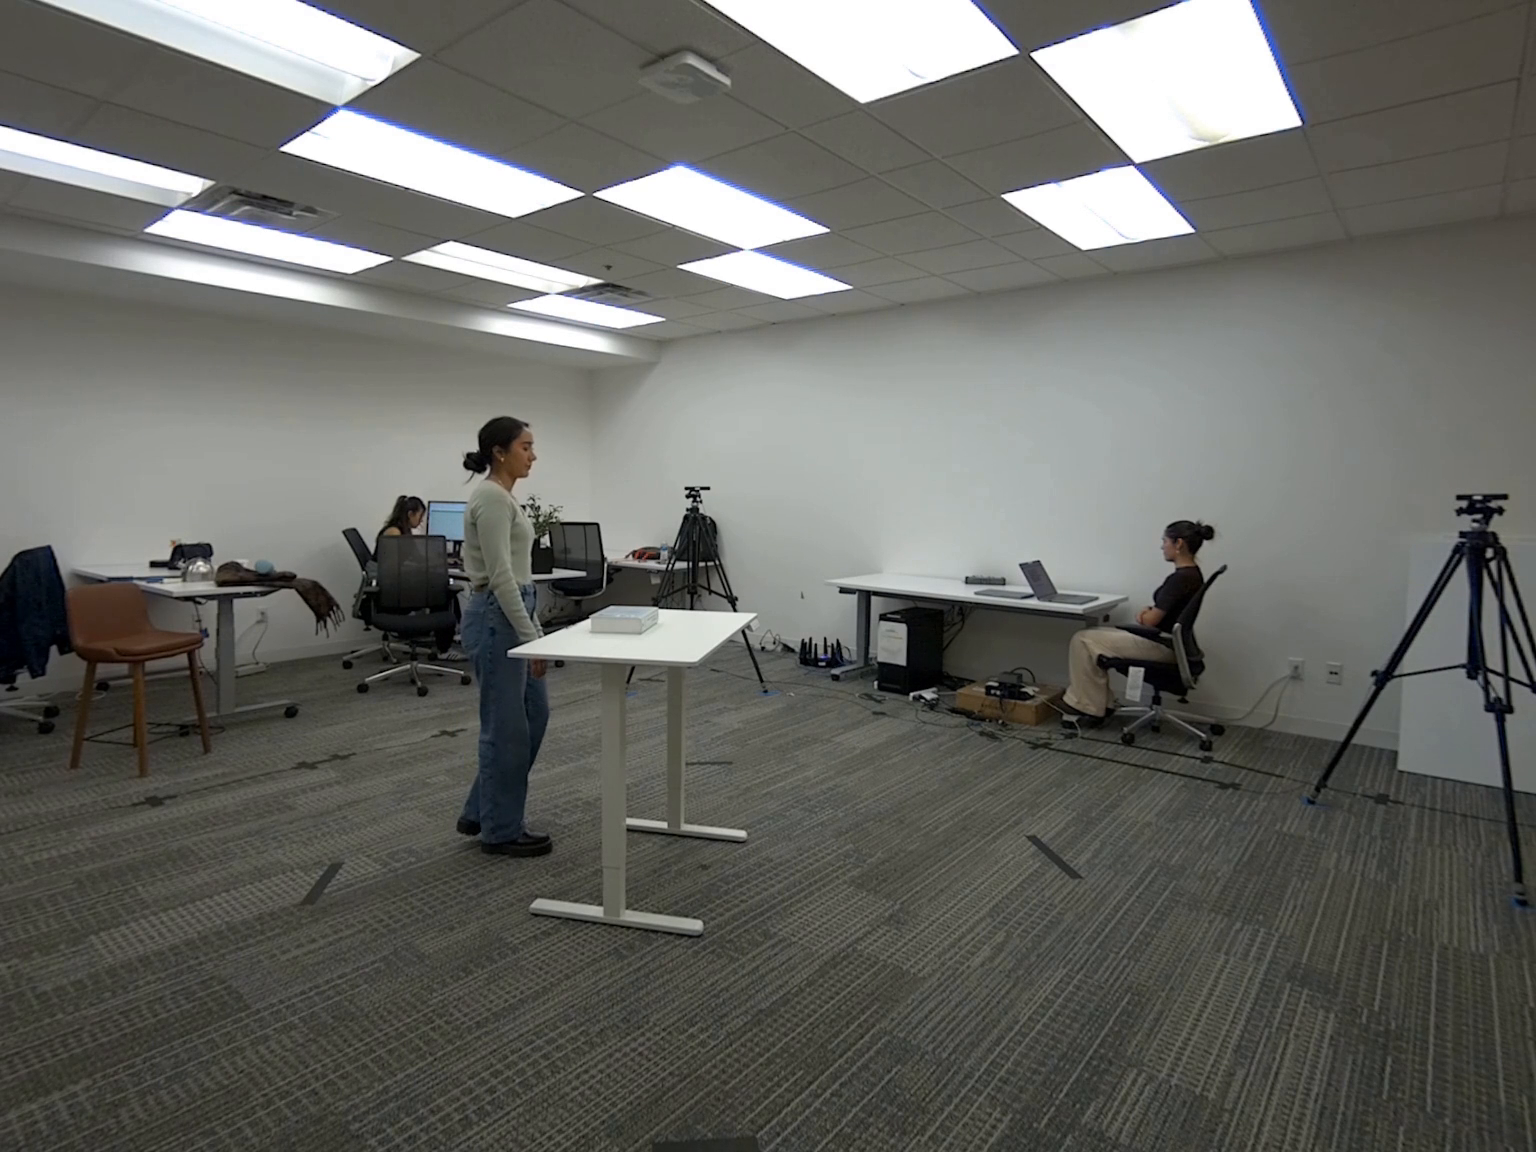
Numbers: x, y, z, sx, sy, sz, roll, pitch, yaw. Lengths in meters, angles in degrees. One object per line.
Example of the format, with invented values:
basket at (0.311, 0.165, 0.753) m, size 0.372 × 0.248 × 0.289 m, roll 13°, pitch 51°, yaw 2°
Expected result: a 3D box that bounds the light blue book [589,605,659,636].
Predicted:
light blue book at (-0.535, 0.157, 3.069) m, size 0.193 × 0.059 × 0.260 m, roll 0°, pitch 6°, yaw 7°
